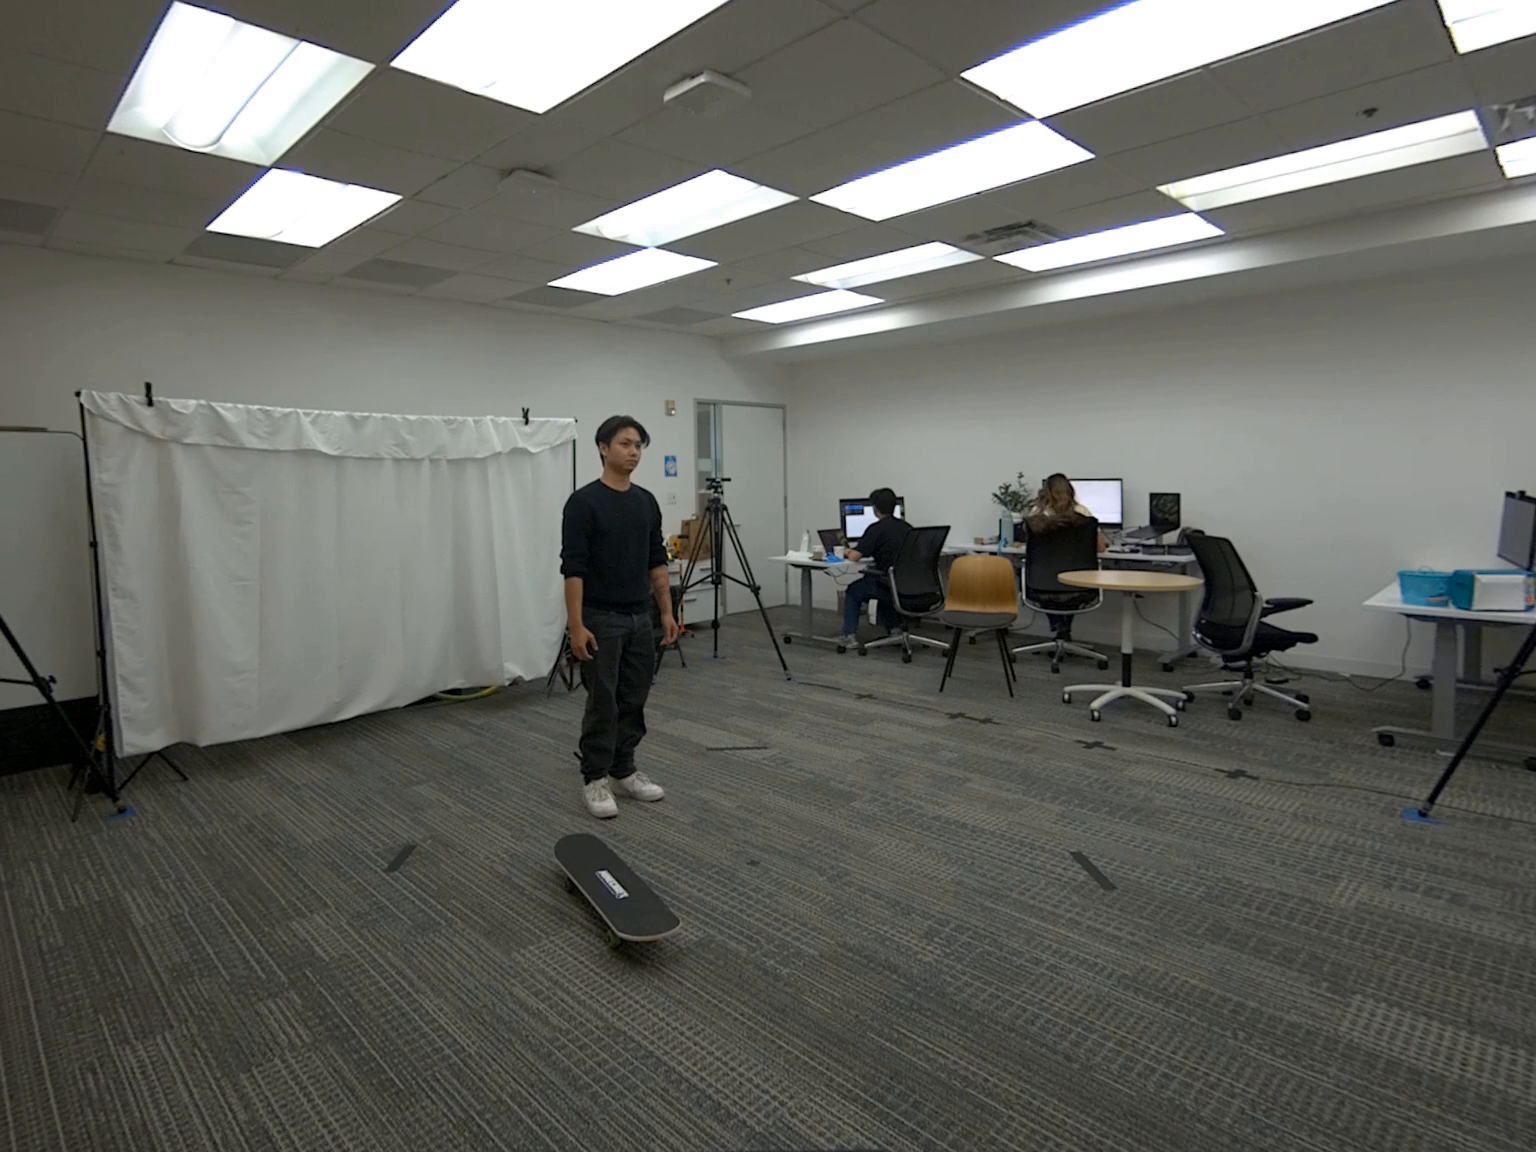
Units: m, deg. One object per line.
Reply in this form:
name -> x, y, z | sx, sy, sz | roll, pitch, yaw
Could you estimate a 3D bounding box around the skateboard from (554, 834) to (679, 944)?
skateboard -> -0.506, 1.034, 2.773 | 0.189, 0.110, 0.808 | -6, 8, -31
